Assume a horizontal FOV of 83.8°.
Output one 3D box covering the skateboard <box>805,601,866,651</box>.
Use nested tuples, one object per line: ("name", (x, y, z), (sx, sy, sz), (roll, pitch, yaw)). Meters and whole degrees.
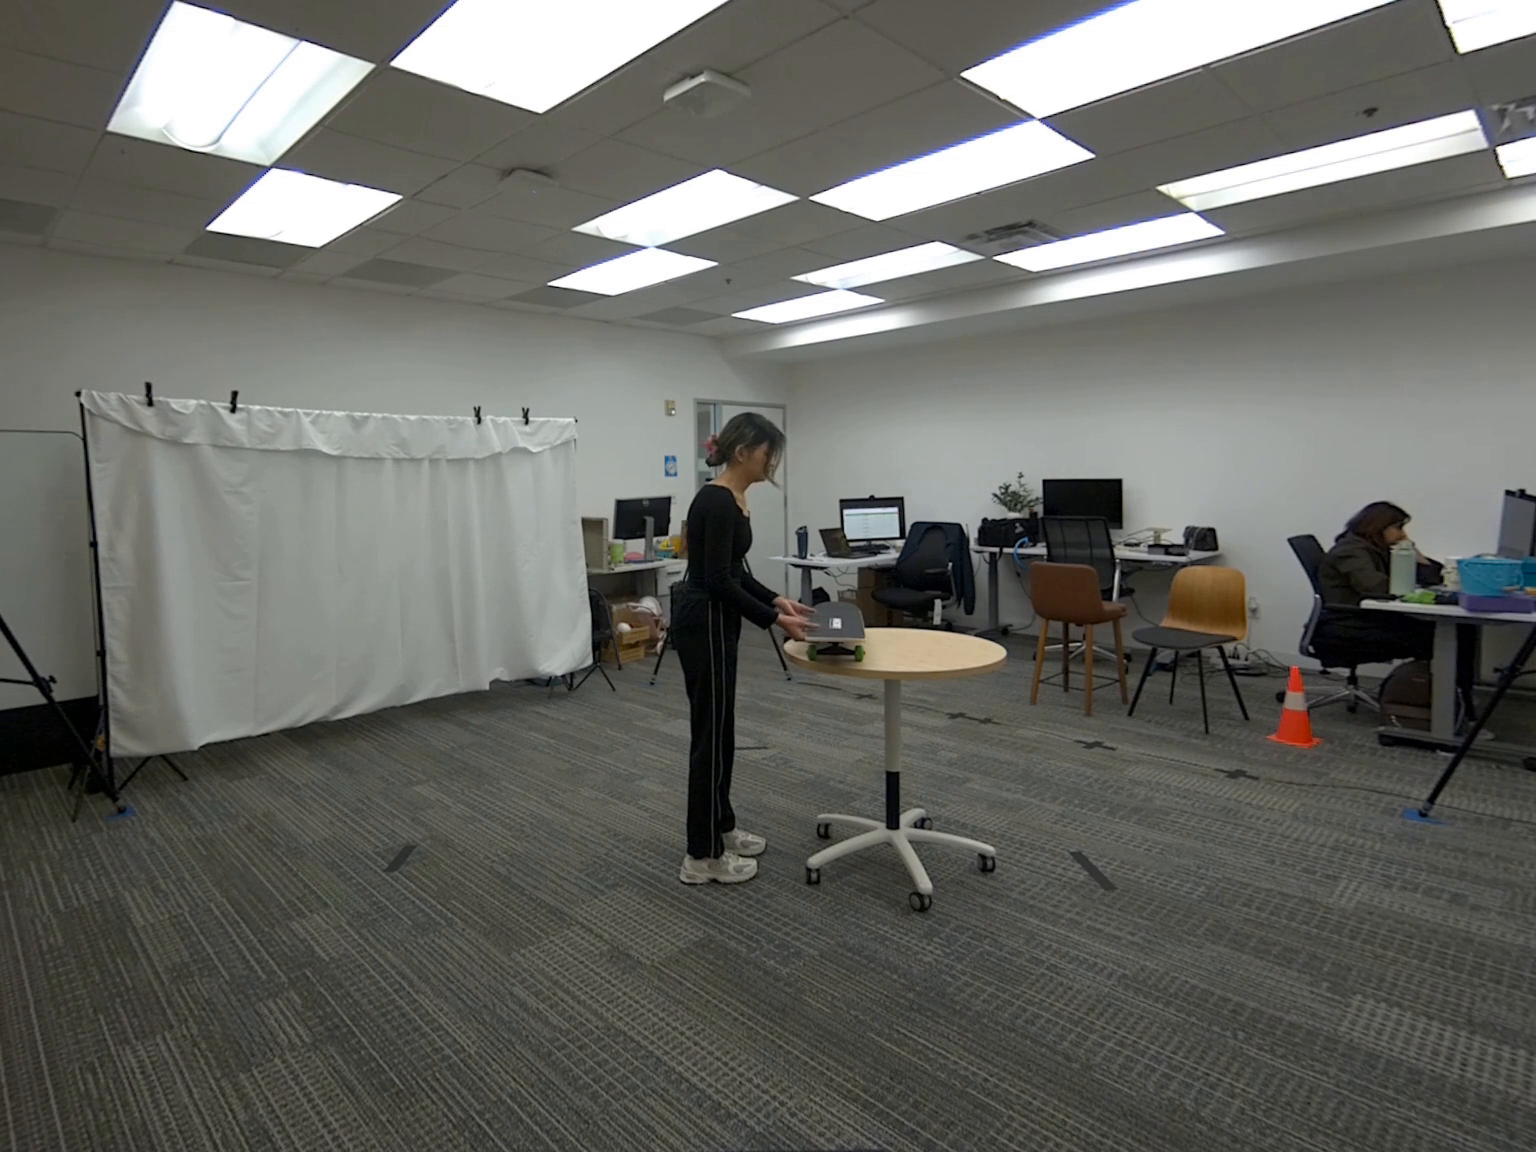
("skateboard", (0.221, 0.198, 3.019), (0.195, 0.110, 0.784), (0, 7, 5))
